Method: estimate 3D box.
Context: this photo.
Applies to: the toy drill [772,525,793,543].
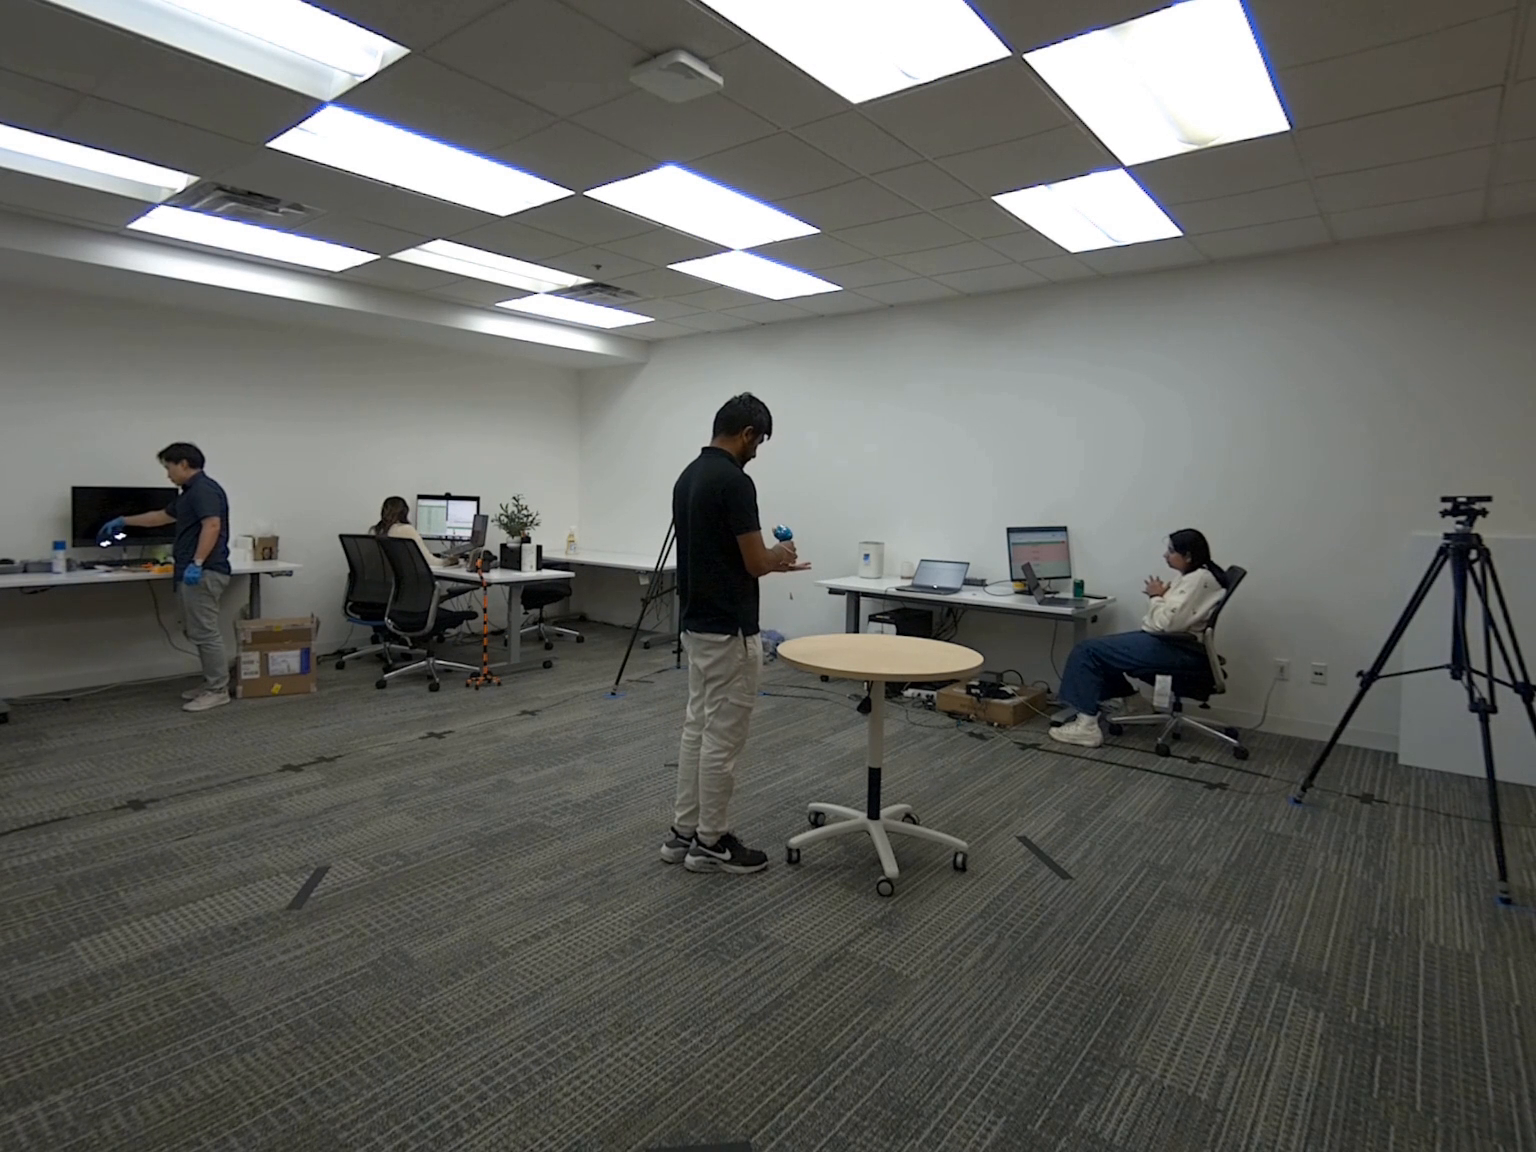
[{"bbox_3d":[0.040,-0.136,3.323,0.060,0.144,0.175,-4,15,-24],"label":"toy drill"}]
